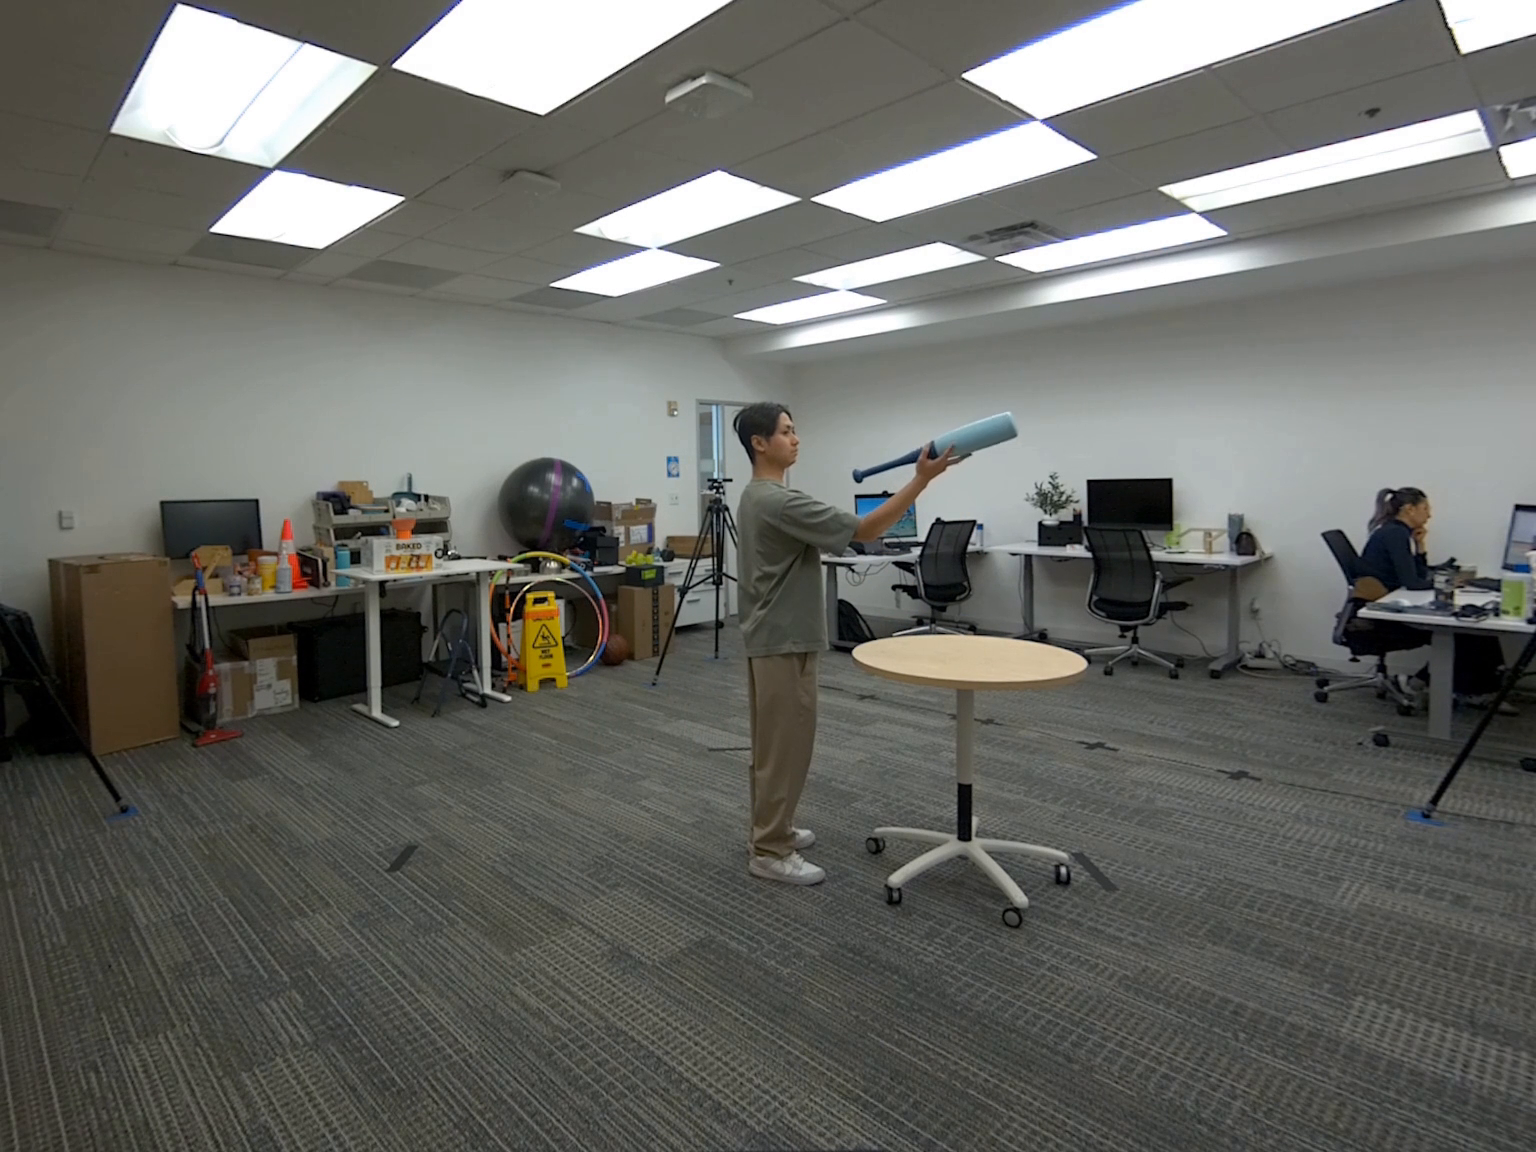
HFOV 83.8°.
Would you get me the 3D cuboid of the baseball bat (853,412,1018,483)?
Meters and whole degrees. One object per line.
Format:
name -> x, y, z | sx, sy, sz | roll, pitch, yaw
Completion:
baseball bat -> 0.534, -0.404, 2.764 | 0.551, 0.089, 0.087 | -17, -2, 25
